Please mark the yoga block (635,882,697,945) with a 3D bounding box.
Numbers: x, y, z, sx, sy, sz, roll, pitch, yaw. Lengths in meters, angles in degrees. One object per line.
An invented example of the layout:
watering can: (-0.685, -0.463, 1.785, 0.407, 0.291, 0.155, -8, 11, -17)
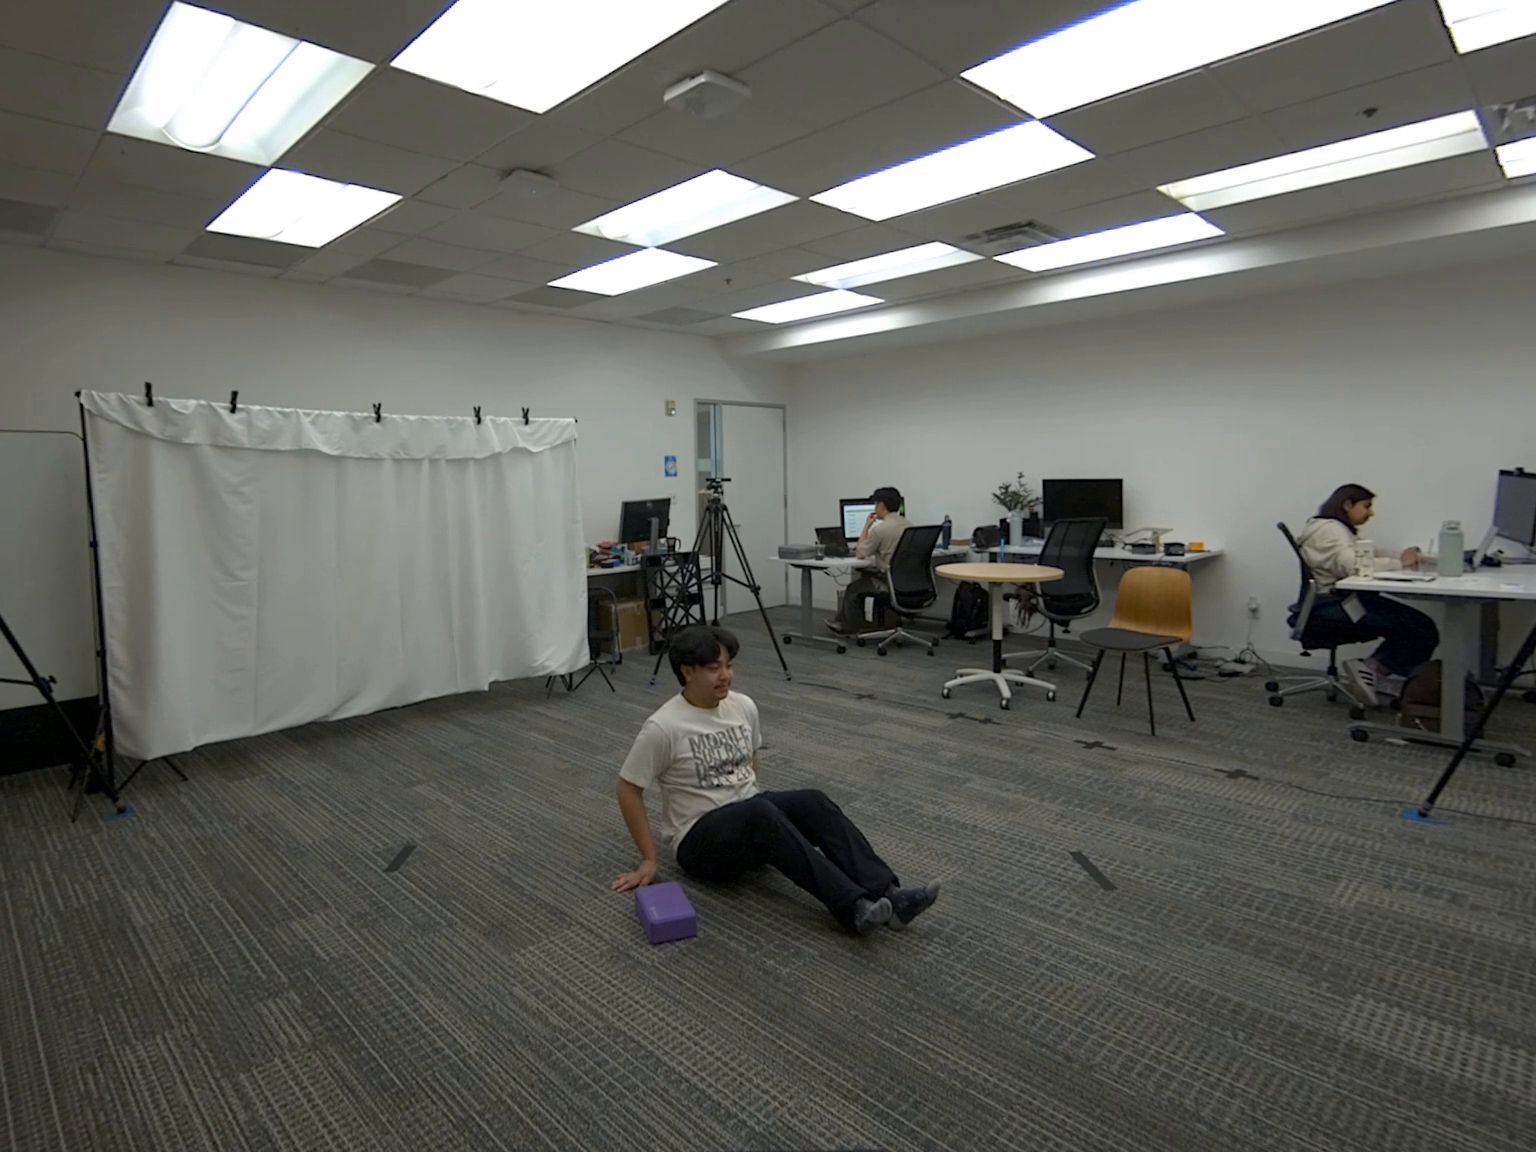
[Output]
yoga block: (-0.323, 1.062, 2.692, 0.146, 0.076, 0.234, -2, 7, -20)
